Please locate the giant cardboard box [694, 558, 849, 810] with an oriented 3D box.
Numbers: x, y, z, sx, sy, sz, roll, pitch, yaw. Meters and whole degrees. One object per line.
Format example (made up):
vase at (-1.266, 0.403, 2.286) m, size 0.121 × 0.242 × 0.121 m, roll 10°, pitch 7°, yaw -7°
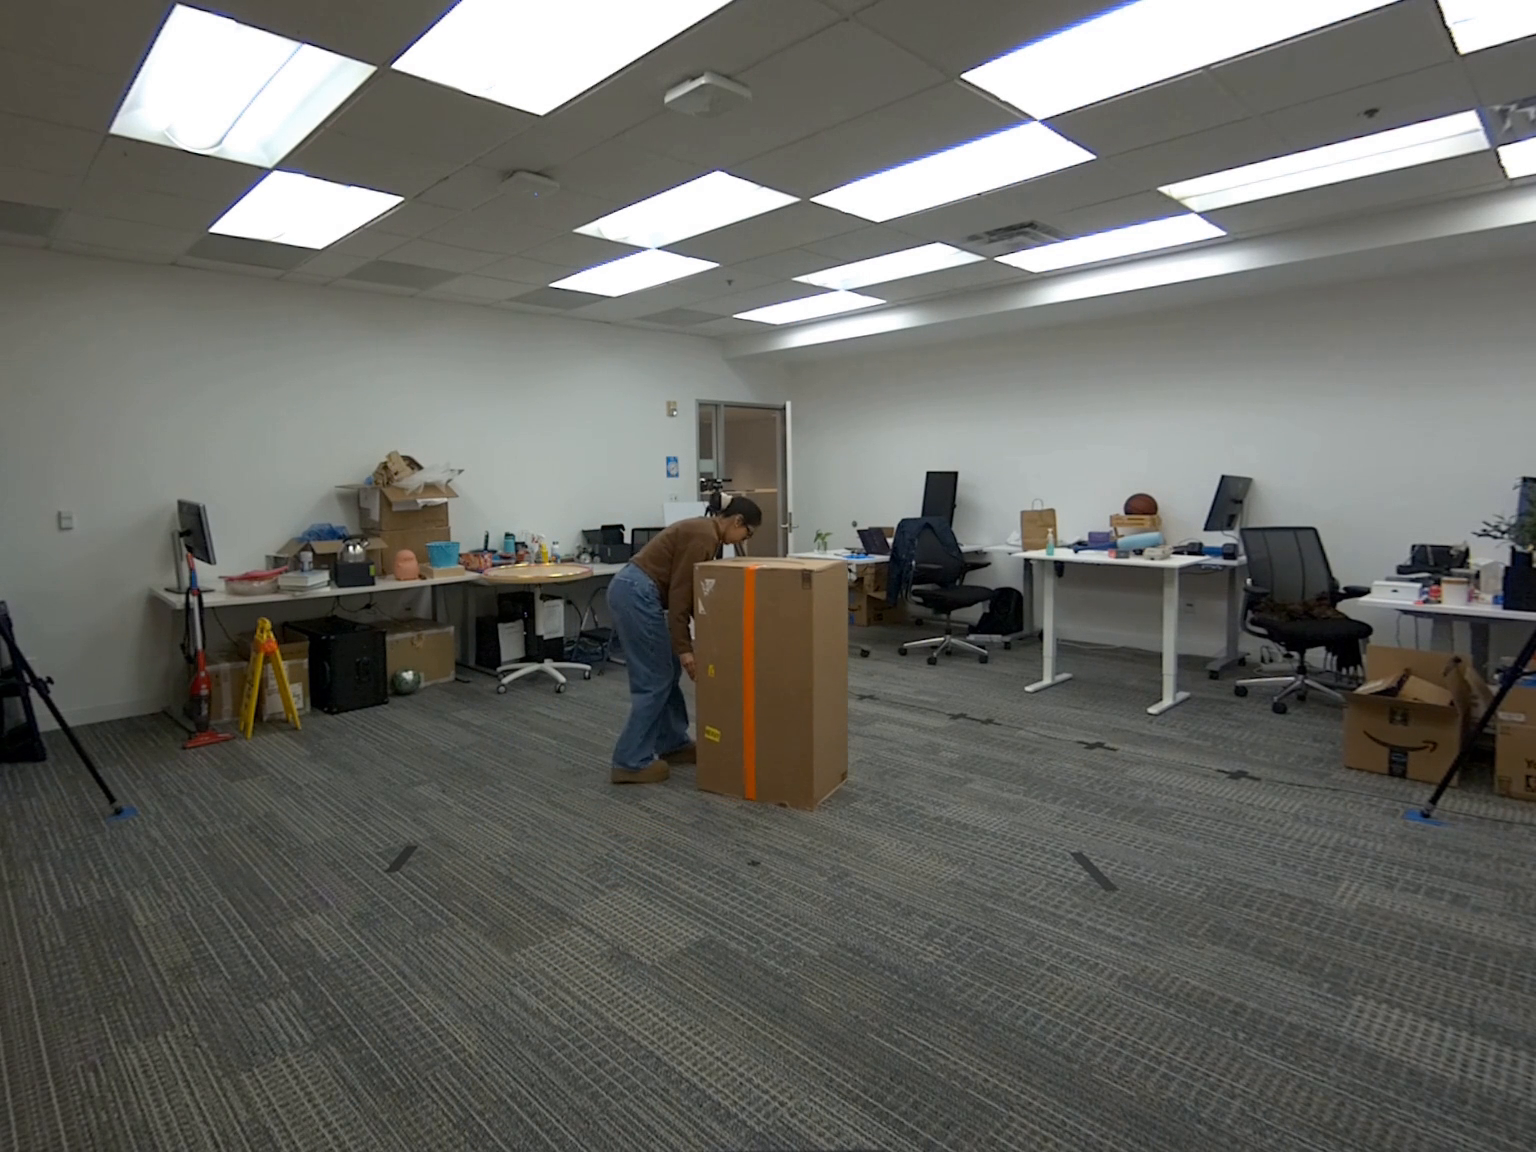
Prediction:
giant cardboard box at (0.020, 0.450, 3.866) m, size 0.592 × 1.022 × 0.417 m, roll 2°, pitch 5°, yaw 28°
